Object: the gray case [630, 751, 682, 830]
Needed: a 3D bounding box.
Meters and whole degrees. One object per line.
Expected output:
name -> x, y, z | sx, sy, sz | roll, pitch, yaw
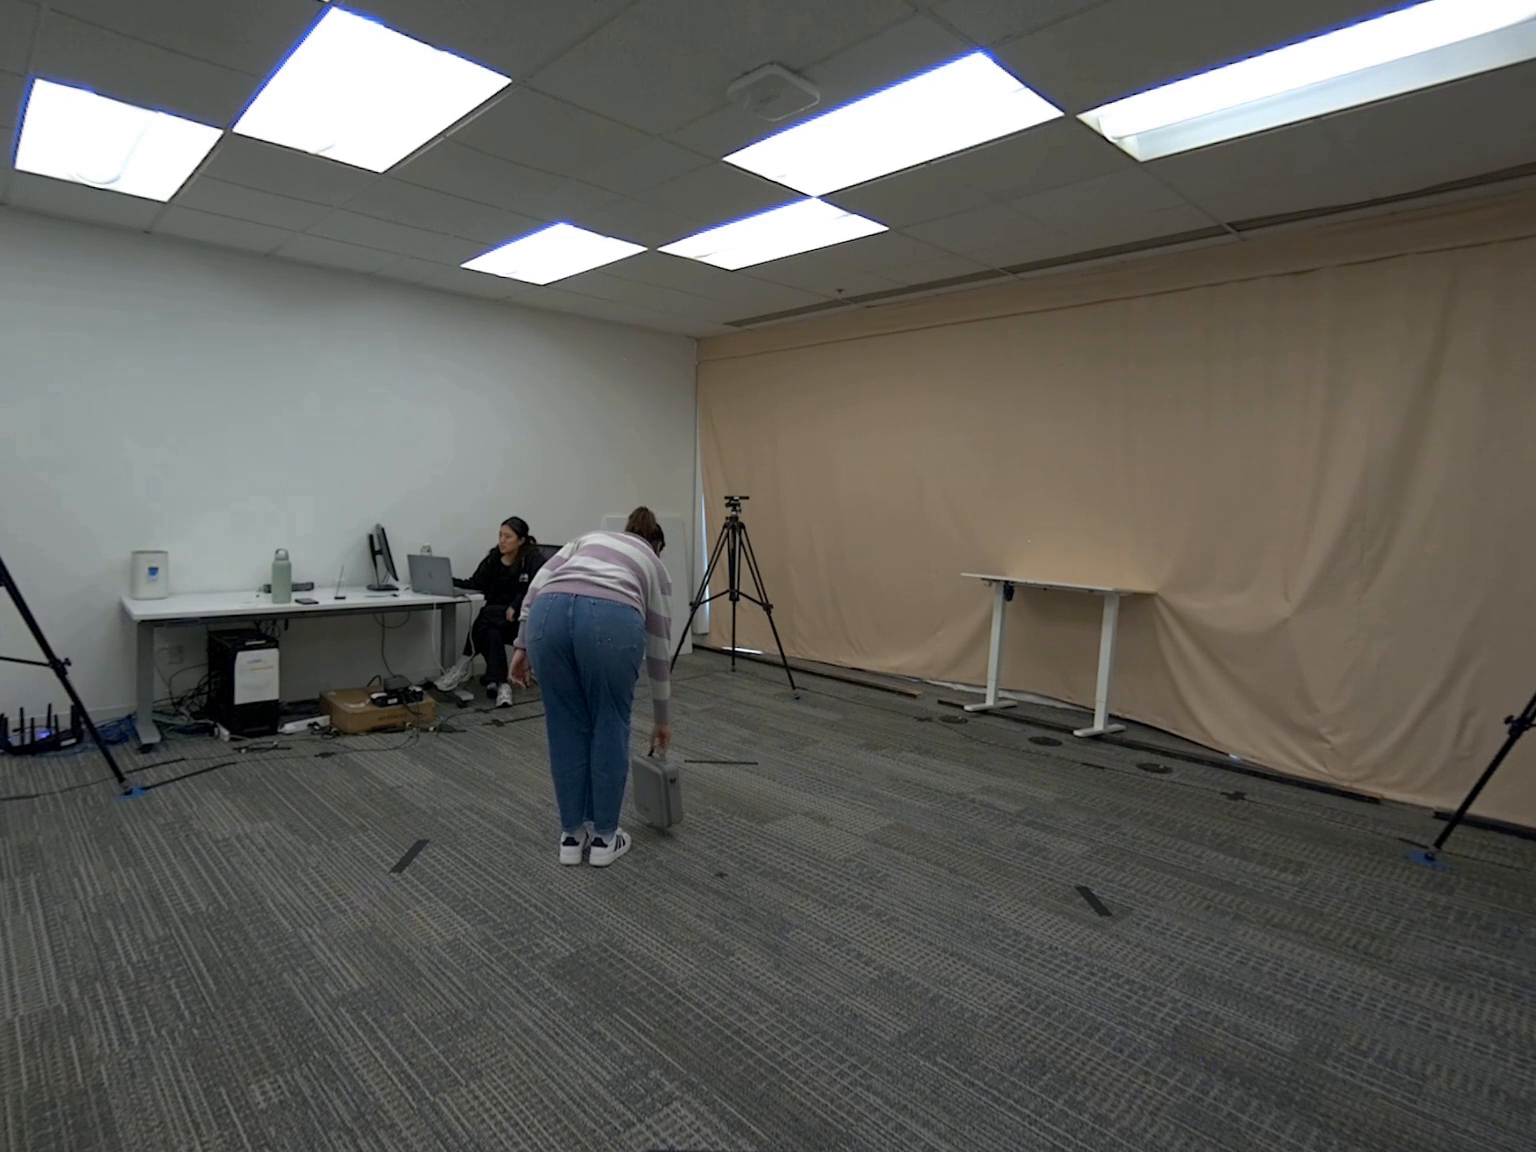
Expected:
gray case -> -0.472, 0.877, 3.490 | 0.102, 0.259, 0.263 | -8, 9, -34
